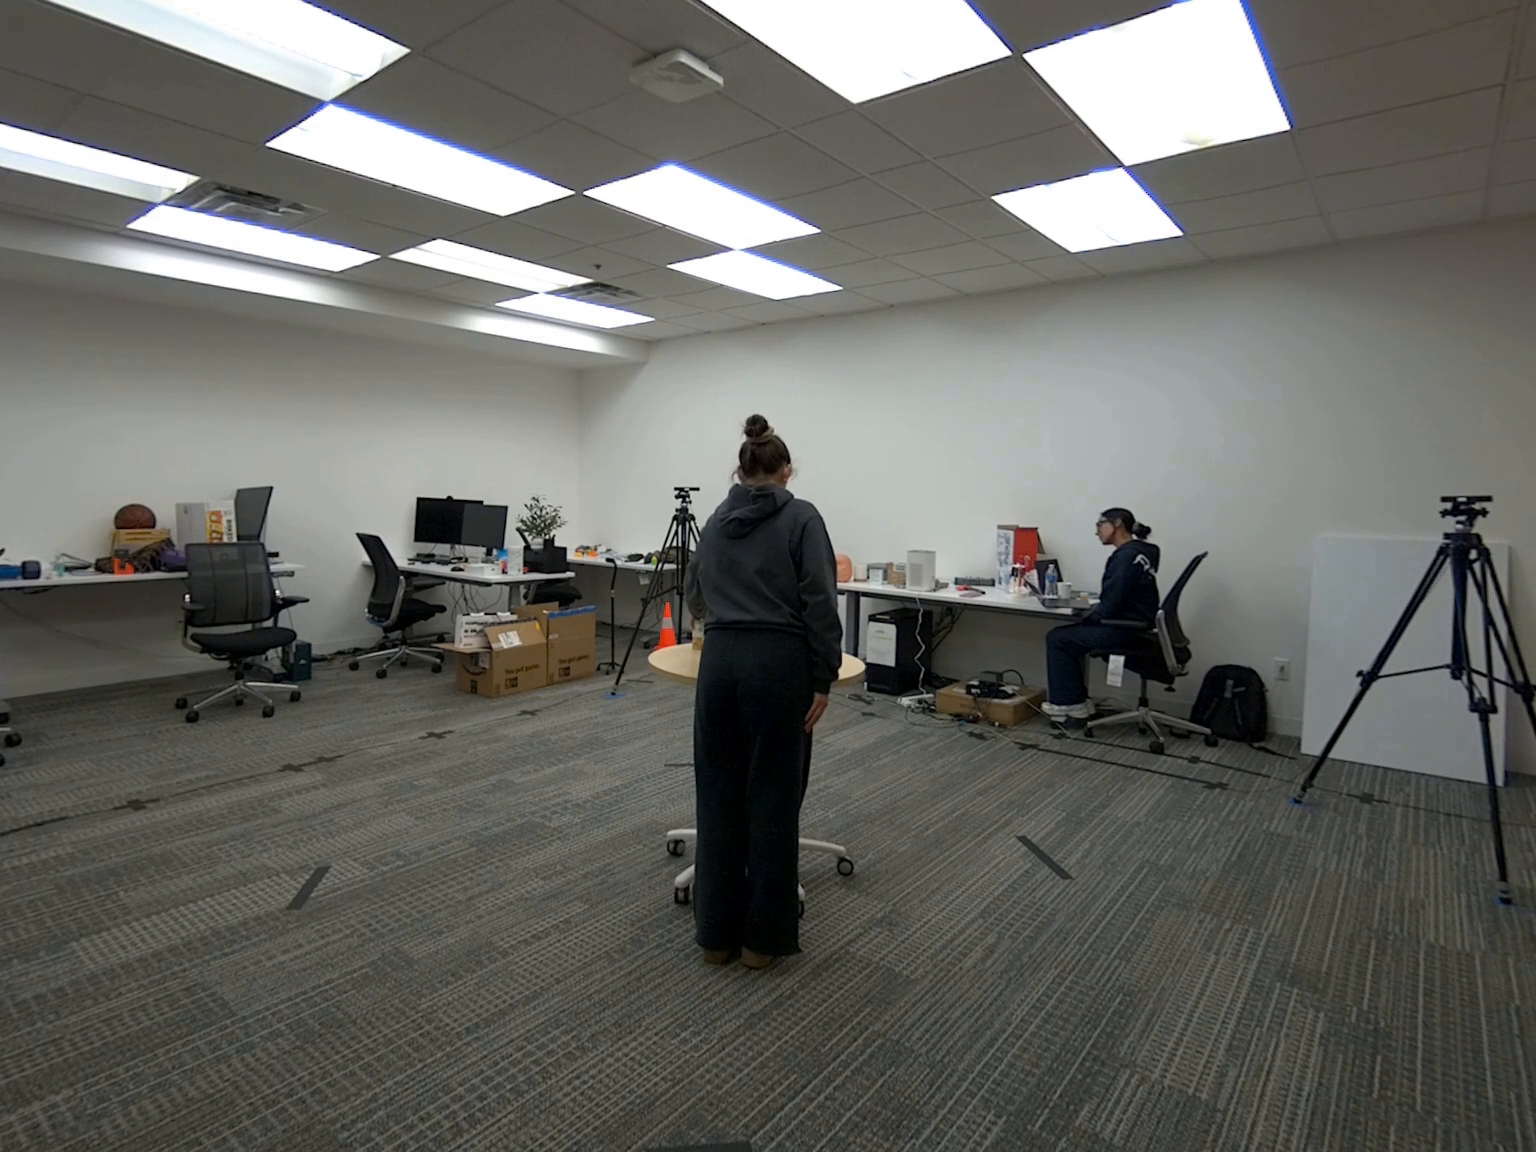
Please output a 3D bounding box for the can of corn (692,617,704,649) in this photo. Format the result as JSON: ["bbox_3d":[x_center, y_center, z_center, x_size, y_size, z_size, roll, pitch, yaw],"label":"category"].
[{"bbox_3d":[-0.248,0.210,3.214,0.074,0.110,0.075,-4,6,-1],"label":"can of corn"}]
